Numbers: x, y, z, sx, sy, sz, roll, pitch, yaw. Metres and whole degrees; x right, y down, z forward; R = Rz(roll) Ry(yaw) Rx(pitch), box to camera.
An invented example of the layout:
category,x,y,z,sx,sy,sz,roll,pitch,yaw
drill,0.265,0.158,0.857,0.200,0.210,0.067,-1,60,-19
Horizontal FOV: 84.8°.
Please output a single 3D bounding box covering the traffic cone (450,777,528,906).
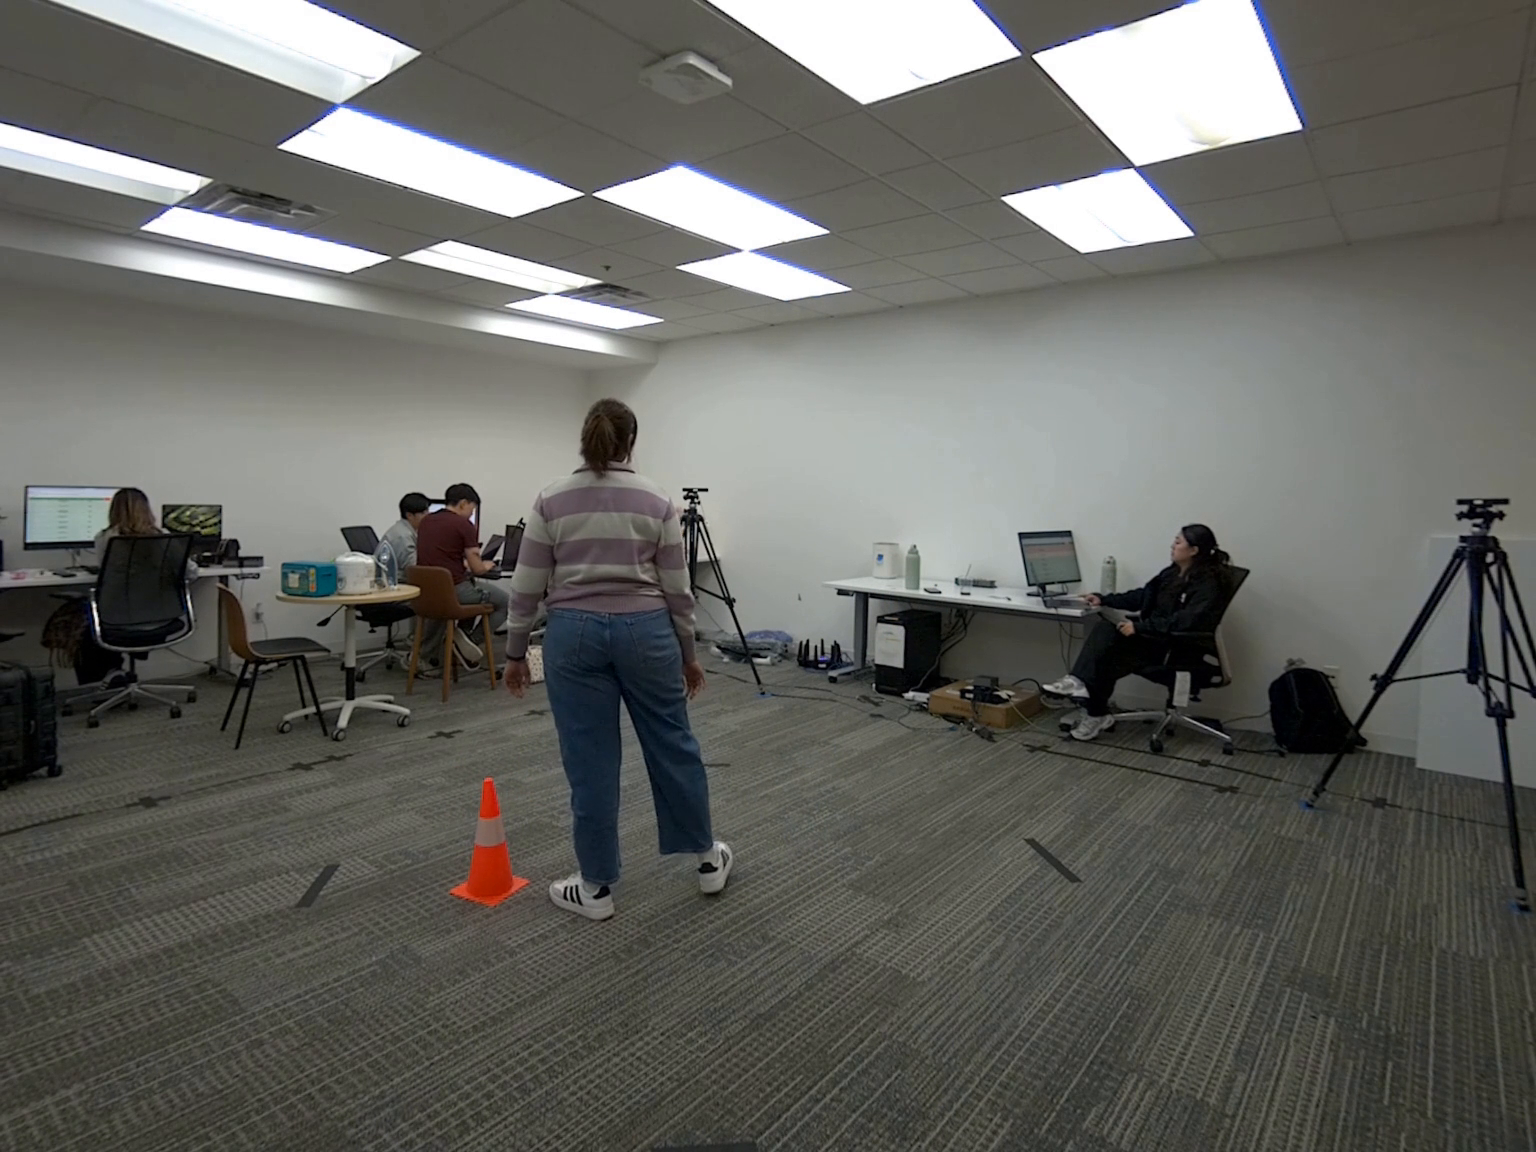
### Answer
category,x,y,z,sx,sy,sz,roll,pitch,yaw
traffic cone,-0.967,0.892,2.923,0.211,0.382,0.198,4,5,28
